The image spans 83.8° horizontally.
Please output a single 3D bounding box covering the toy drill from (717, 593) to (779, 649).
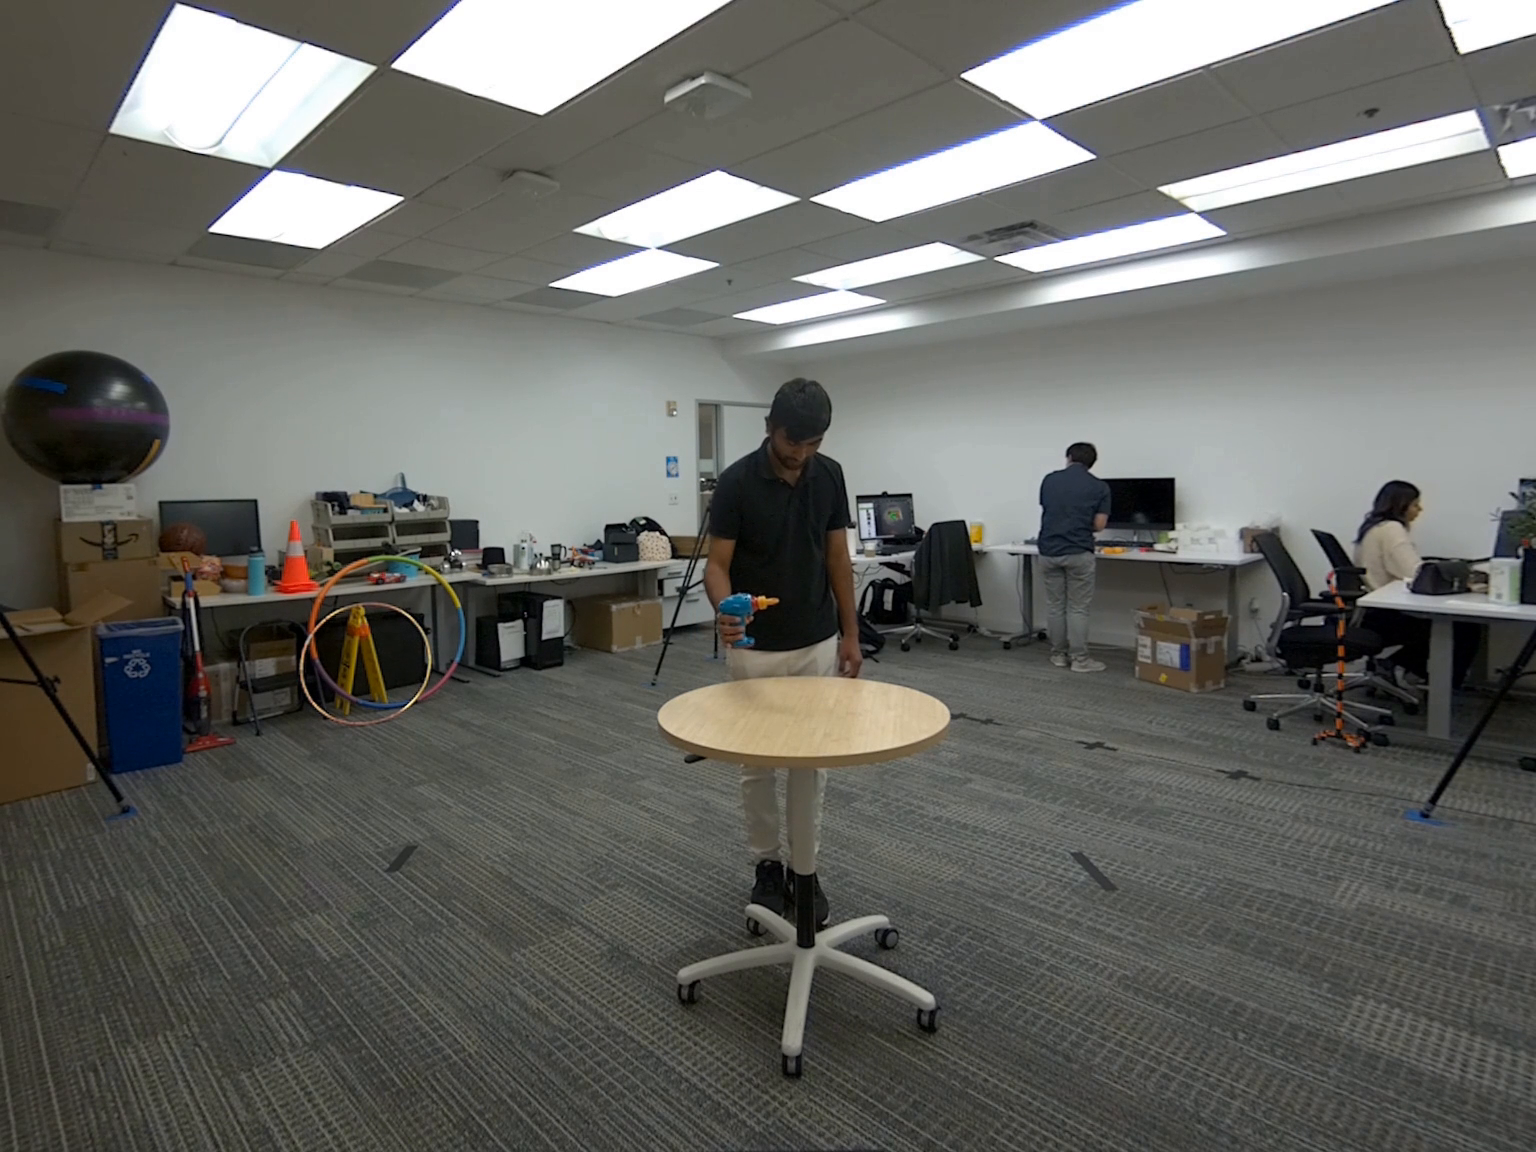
[{"bbox_3d":[-0.042,0.115,2.315,0.171,0.145,0.061,-8,5,8],"label":"toy drill"}]
